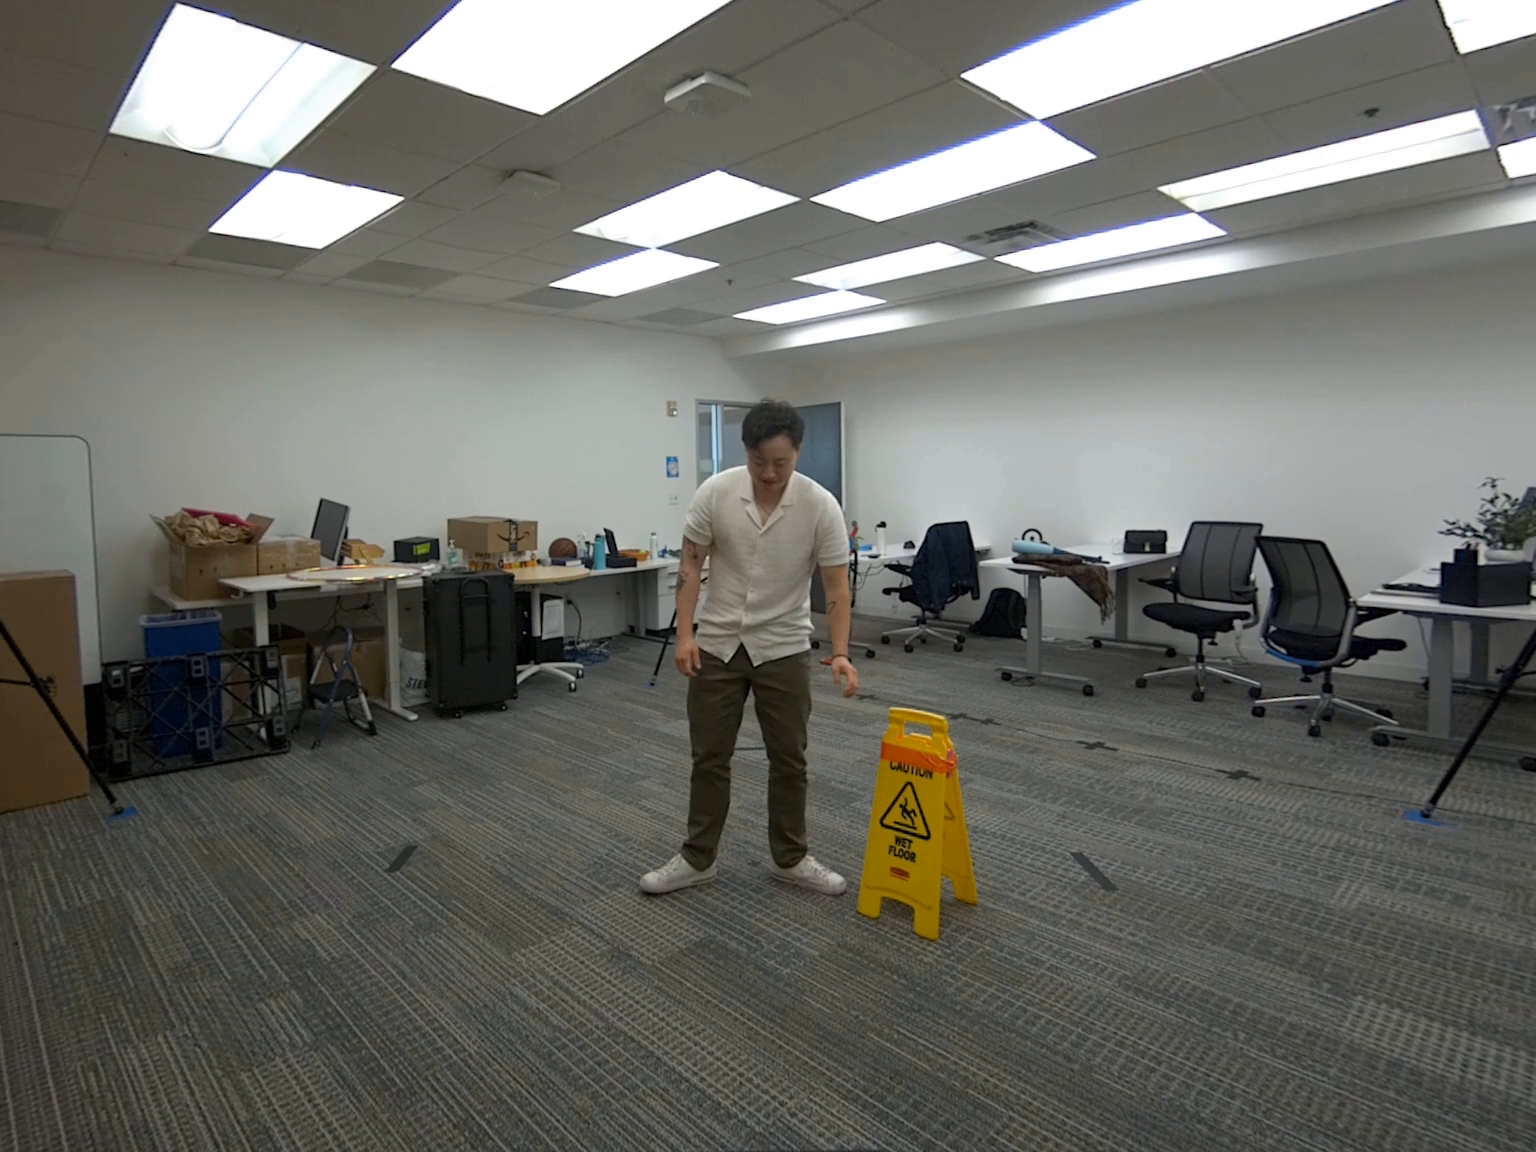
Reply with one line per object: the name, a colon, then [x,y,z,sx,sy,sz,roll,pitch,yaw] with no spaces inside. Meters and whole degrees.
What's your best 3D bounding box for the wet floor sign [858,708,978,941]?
wet floor sign: [0.485,0.756,2.738,0.291,0.644,0.282,3,5,40]
